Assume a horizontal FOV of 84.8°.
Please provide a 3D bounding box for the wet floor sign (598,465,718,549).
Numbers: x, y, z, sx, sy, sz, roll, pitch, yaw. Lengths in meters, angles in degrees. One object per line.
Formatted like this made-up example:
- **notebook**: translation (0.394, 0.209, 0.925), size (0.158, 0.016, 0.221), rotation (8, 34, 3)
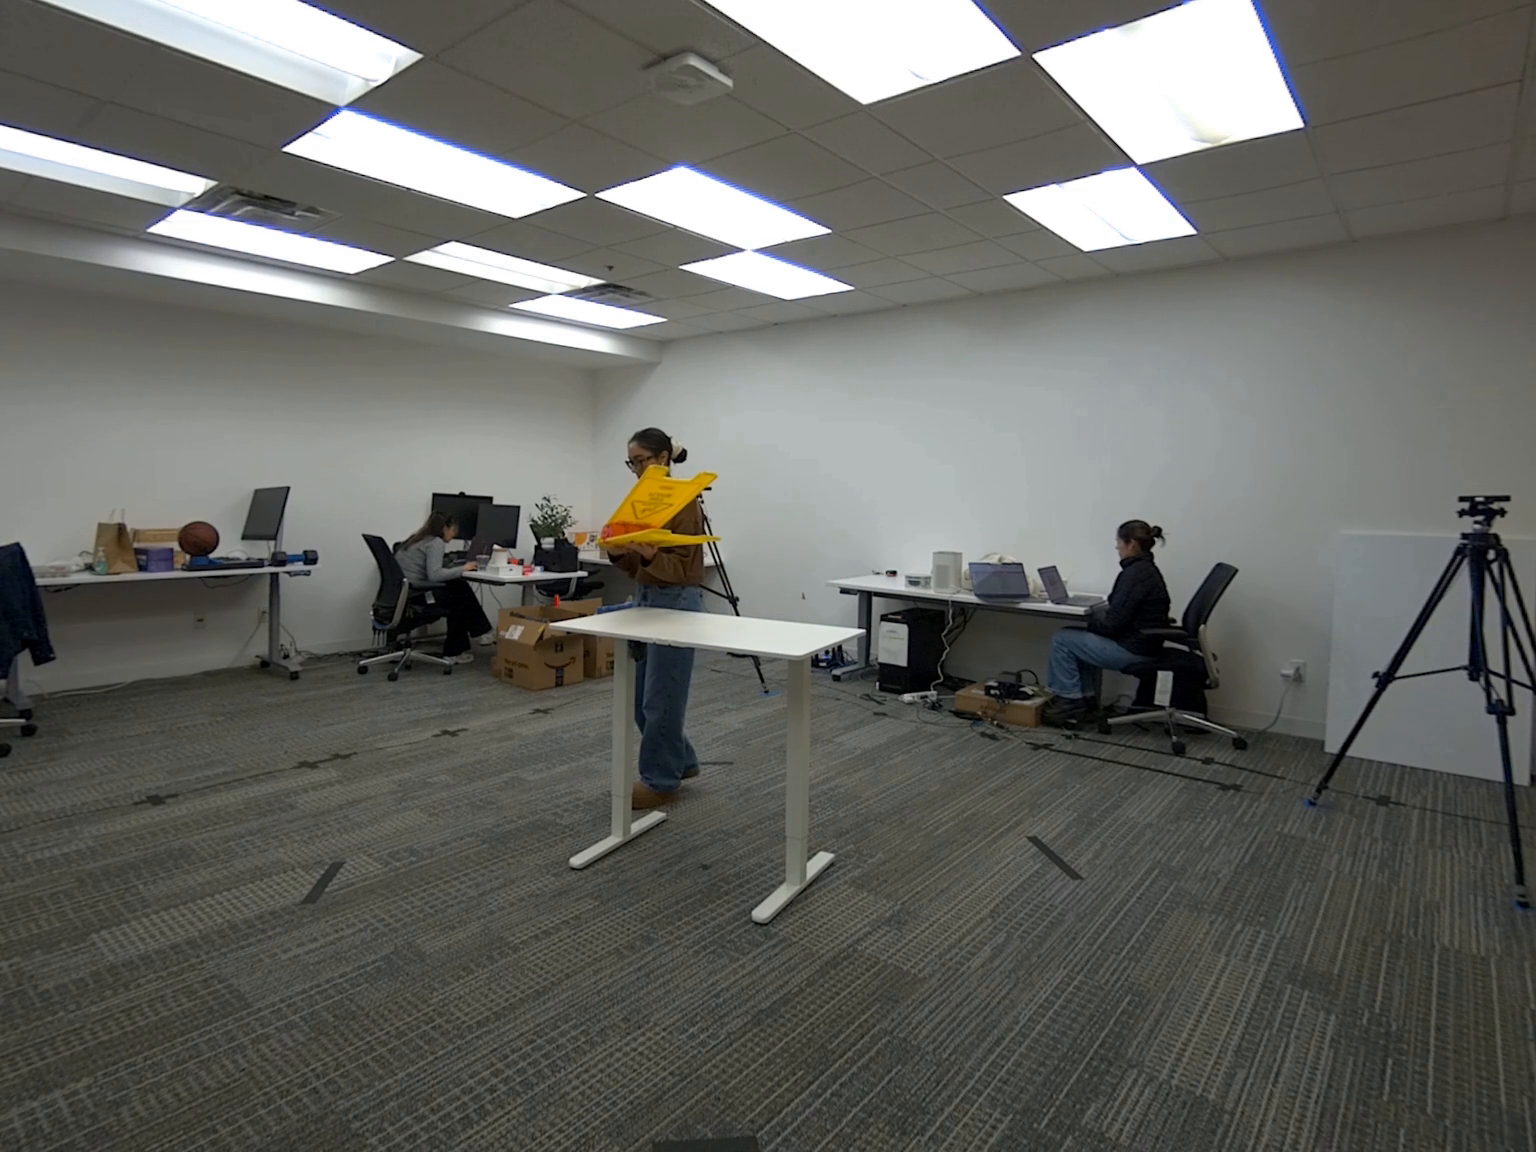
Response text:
- **wet floor sign**: translation (-0.490, -0.197, 3.321), size (0.273, 0.293, 0.658), rotation (7, -14, -34)
